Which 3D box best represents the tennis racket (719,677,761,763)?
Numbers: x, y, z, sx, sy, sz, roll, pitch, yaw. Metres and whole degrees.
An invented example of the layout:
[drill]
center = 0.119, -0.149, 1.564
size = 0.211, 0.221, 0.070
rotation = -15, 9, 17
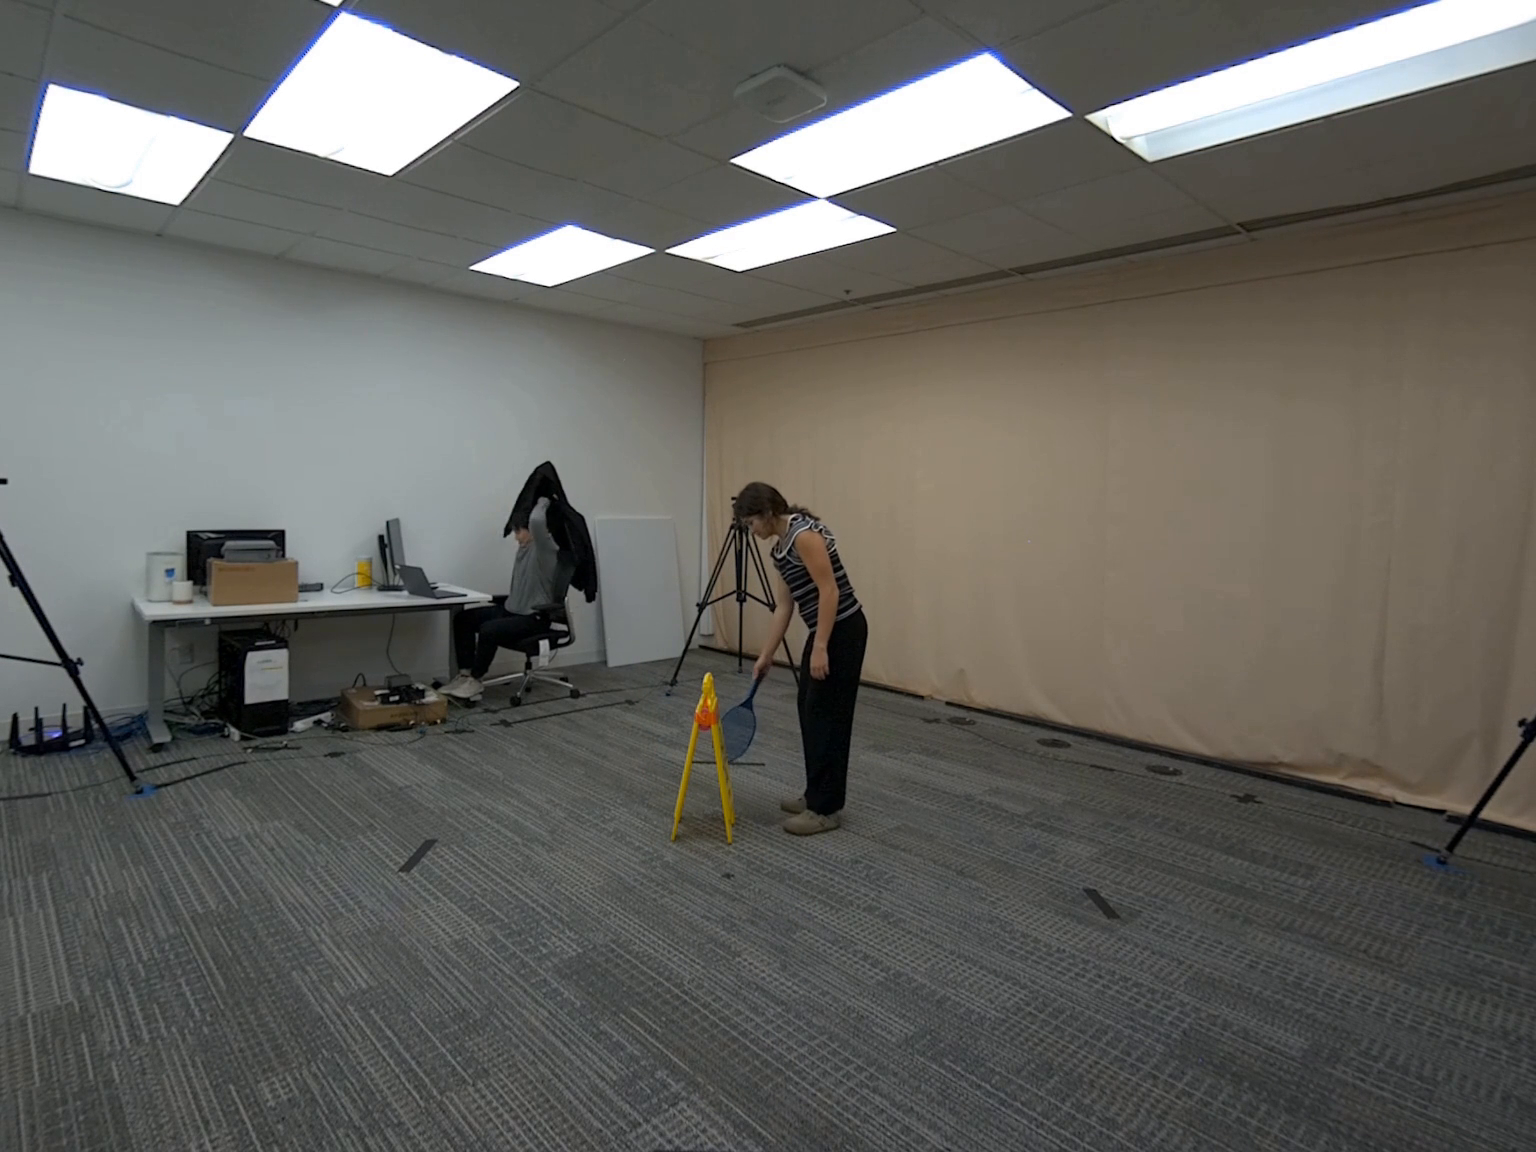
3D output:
[tennis racket]
center = -0.125, 0.632, 3.801
size = 0.208, 0.434, 0.032
rotation = 27, -7, -33
